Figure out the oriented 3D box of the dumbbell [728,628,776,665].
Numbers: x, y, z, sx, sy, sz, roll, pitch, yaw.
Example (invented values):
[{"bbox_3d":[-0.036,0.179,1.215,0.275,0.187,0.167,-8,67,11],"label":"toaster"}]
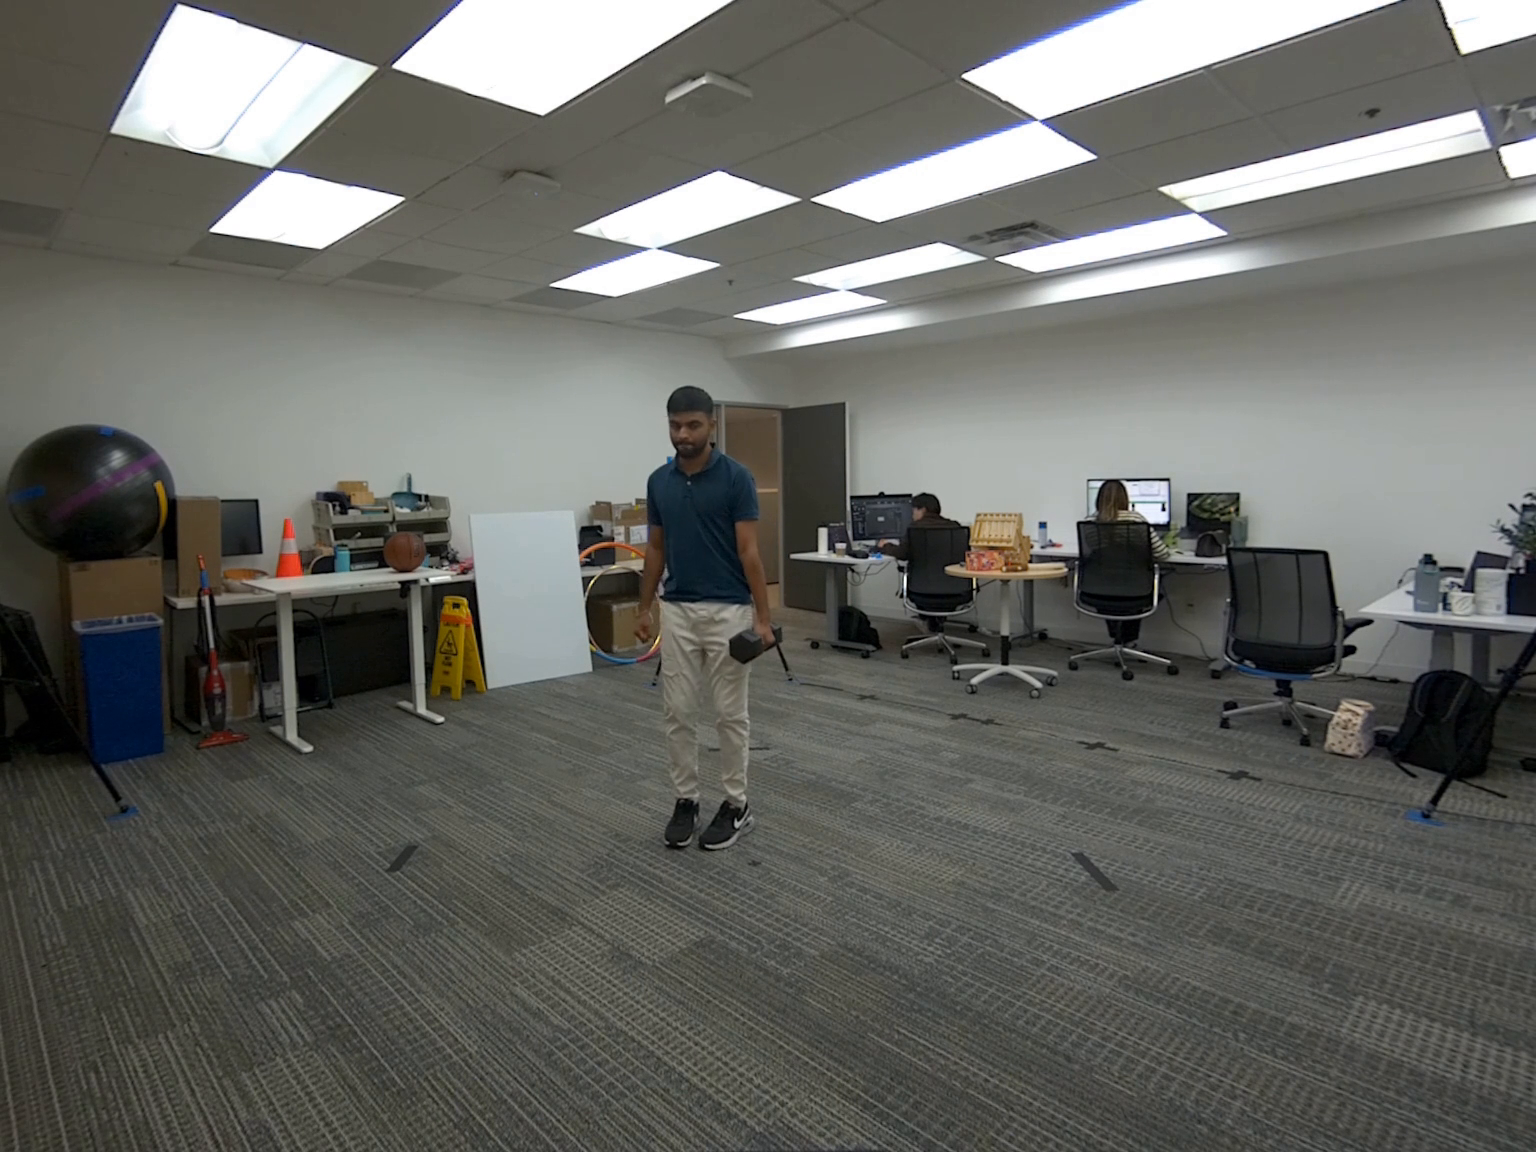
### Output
[{"bbox_3d":[-0.036,0.245,3.214,0.111,0.122,0.289,-5,6,24],"label":"dumbbell"}]
